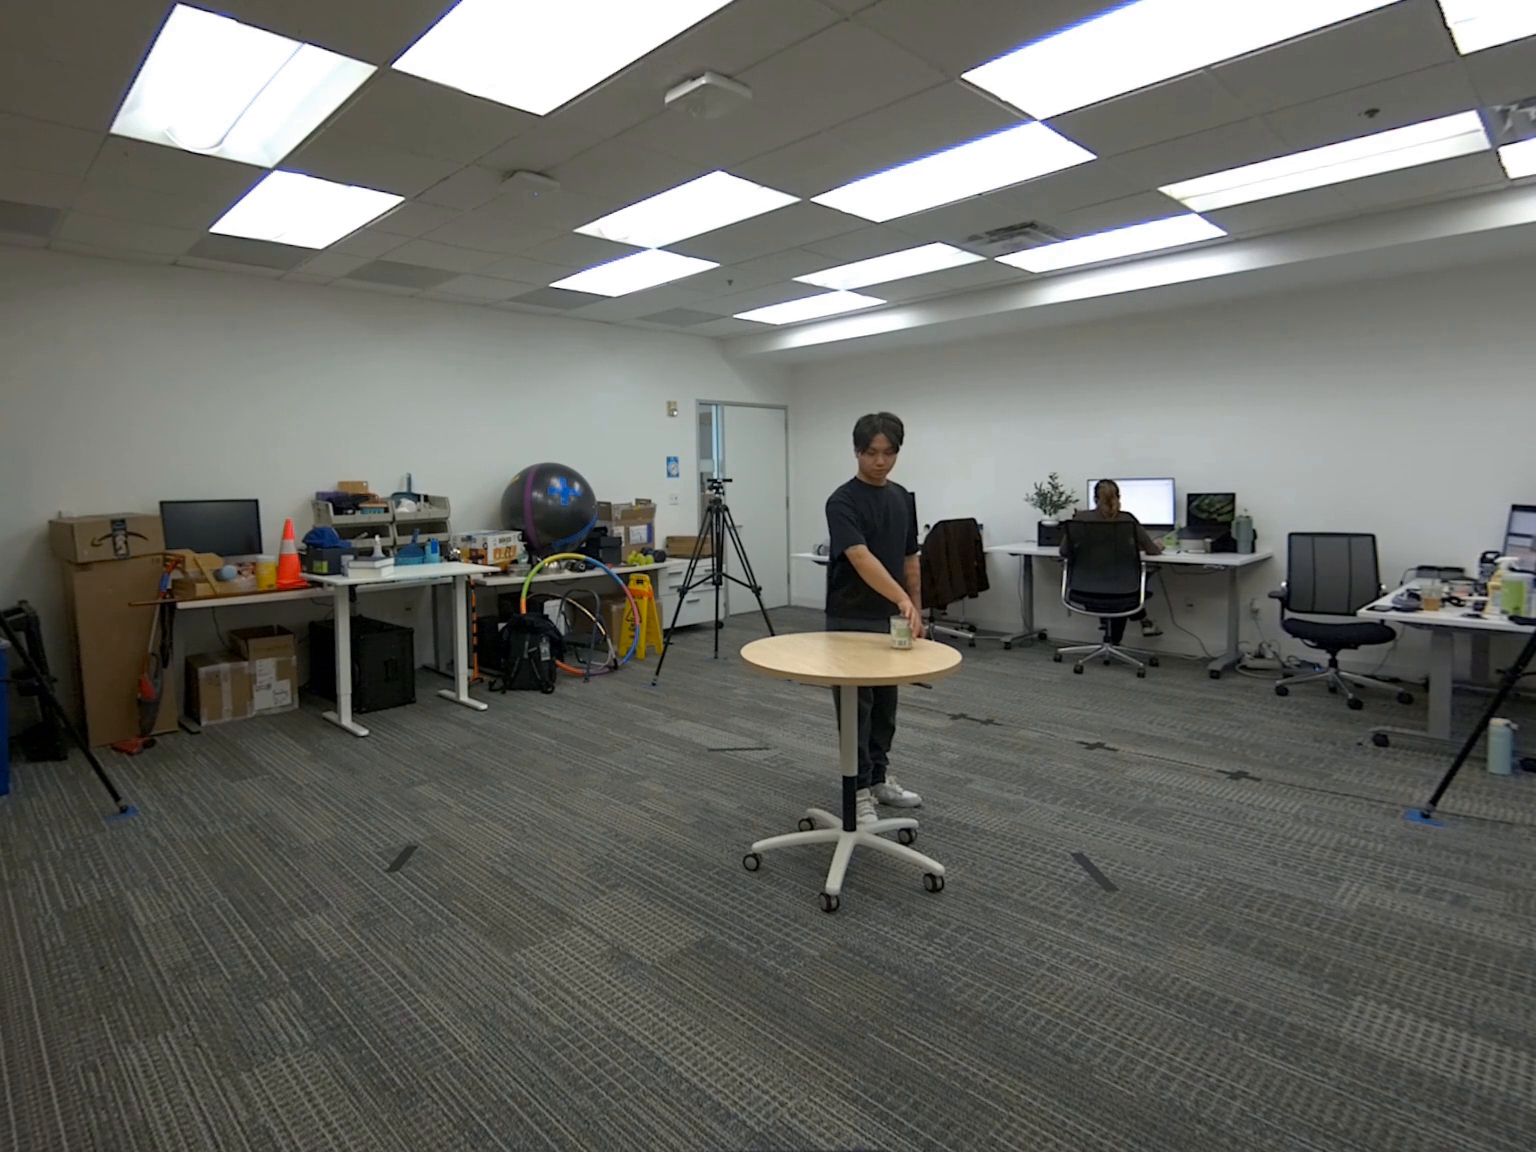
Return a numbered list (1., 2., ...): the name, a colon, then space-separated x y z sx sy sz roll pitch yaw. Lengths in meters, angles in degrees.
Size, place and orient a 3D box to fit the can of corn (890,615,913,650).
1. can of corn: 0.474 0.205 3.065 0.074 0.111 0.074 -4 3 -1
